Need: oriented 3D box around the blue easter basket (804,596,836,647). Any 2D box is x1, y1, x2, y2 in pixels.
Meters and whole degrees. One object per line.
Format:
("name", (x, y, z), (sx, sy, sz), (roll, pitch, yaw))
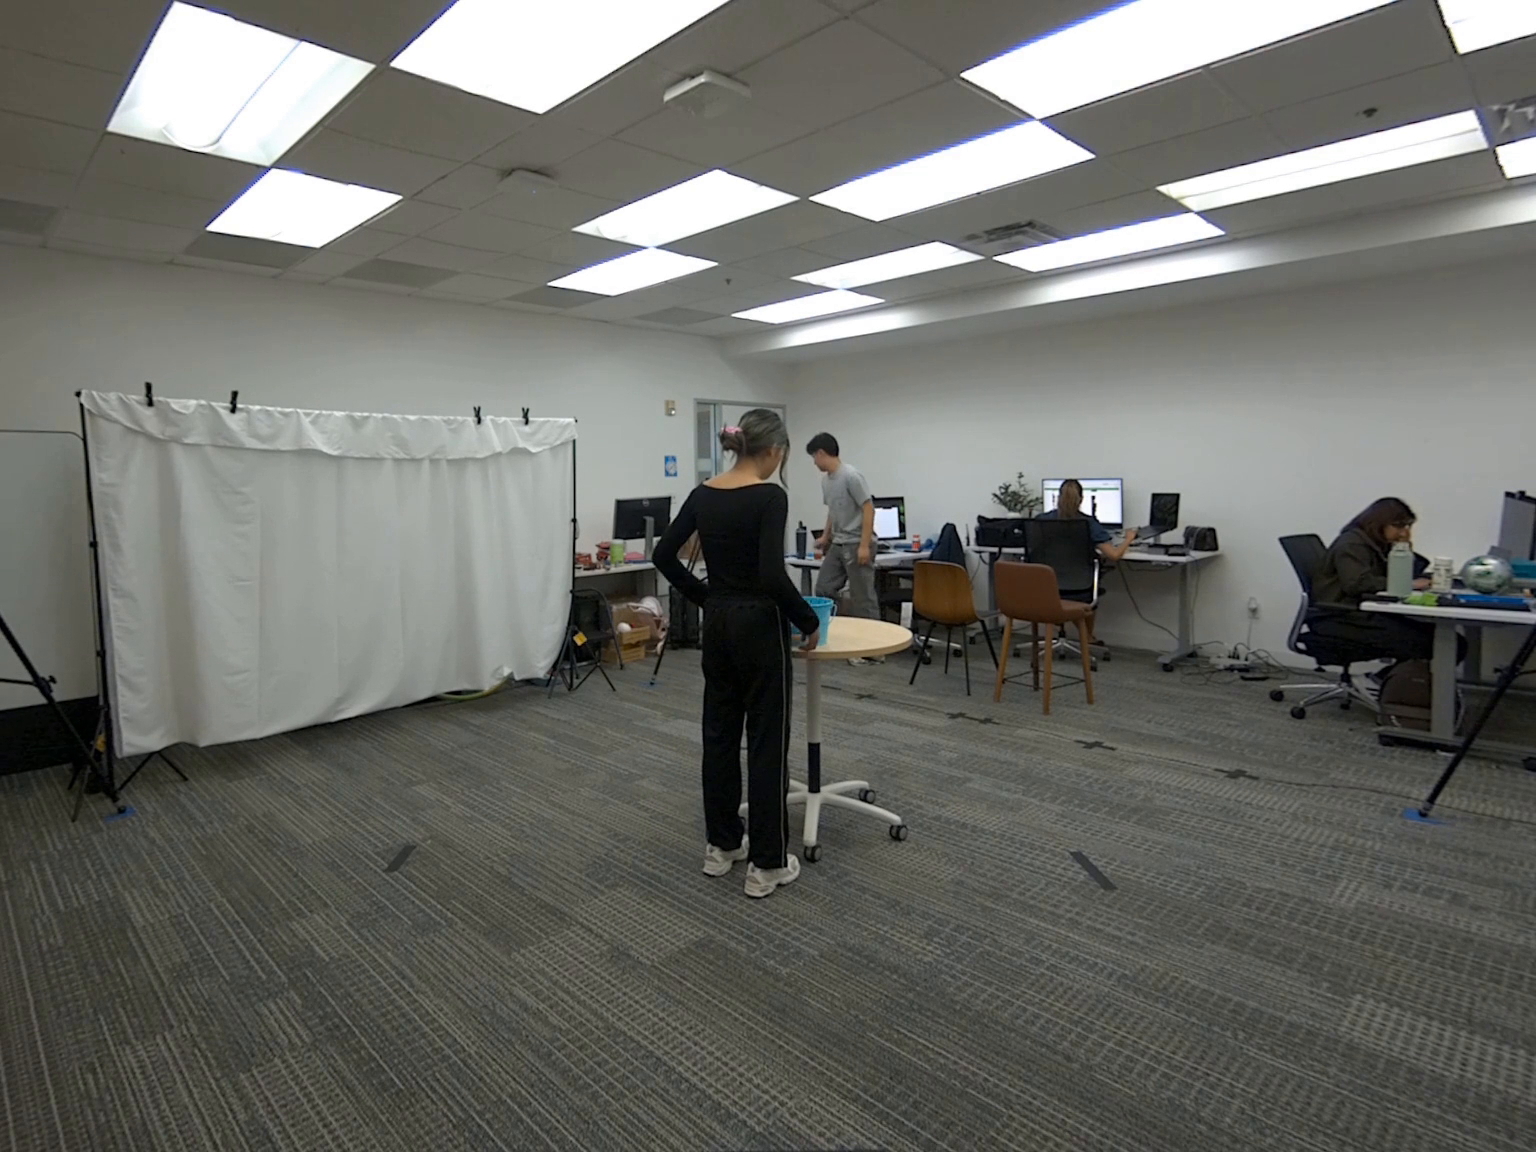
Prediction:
("blue easter basket", (0.135, 0.169, 3.179), (0.243, 0.155, 0.245), (0, 6, -2))
